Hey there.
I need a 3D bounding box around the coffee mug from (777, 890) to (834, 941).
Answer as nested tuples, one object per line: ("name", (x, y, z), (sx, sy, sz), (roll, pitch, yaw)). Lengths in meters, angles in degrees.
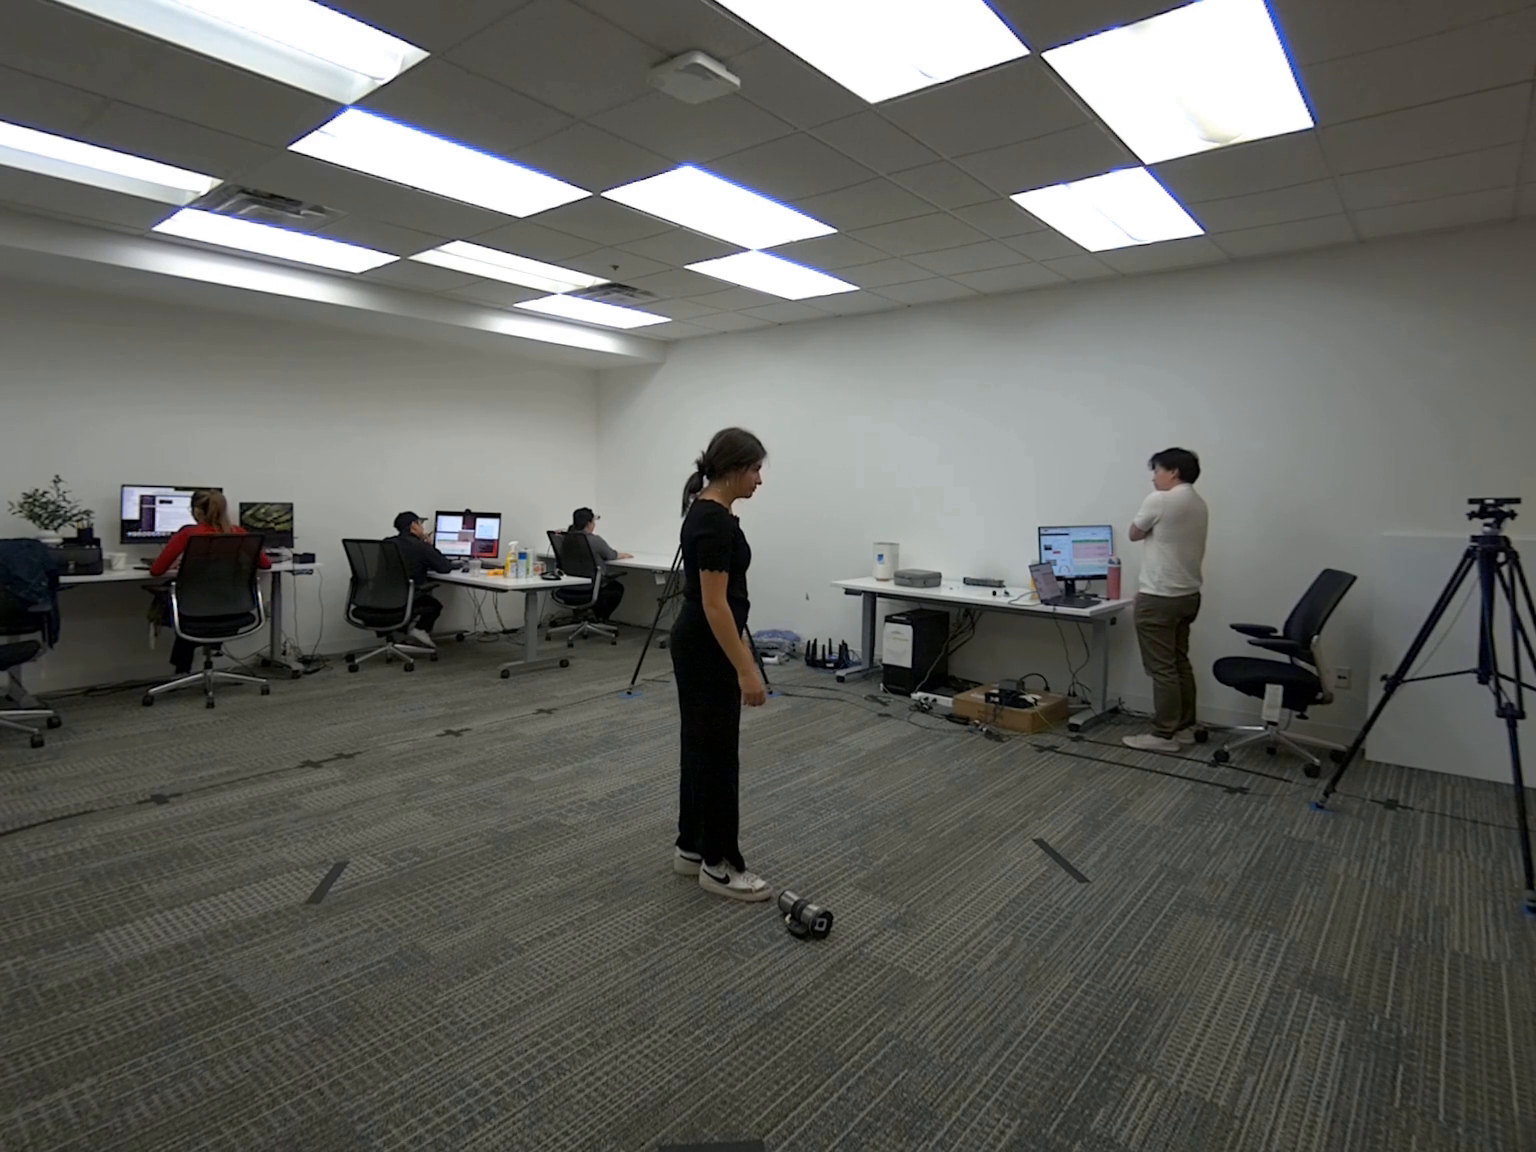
("coffee mug", (0.095, 1.066, 2.707), (0.118, 0.088, 0.209), (12, -3, -36))
